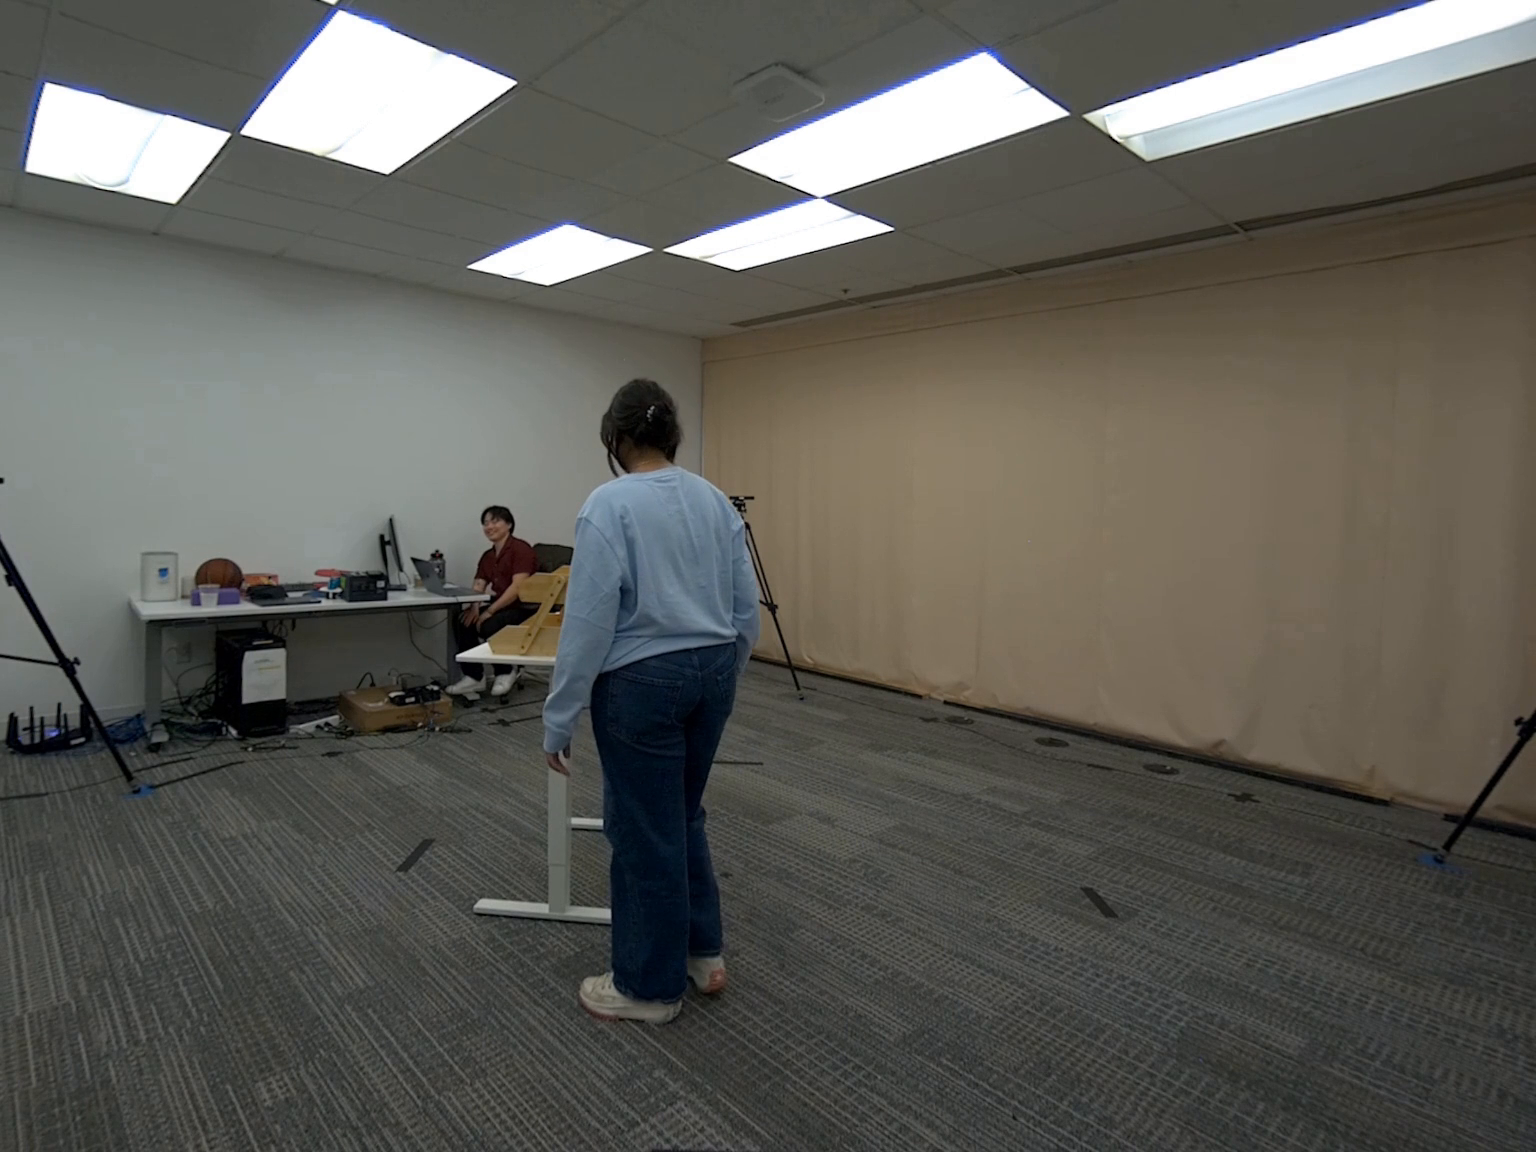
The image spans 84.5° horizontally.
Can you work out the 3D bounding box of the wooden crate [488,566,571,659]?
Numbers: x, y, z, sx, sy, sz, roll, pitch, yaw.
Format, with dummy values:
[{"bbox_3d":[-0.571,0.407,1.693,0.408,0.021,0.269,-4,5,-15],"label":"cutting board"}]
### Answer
[{"bbox_3d":[-0.744,0.107,2.787,0.303,0.272,0.324,3,4,2],"label":"wooden crate"}]
